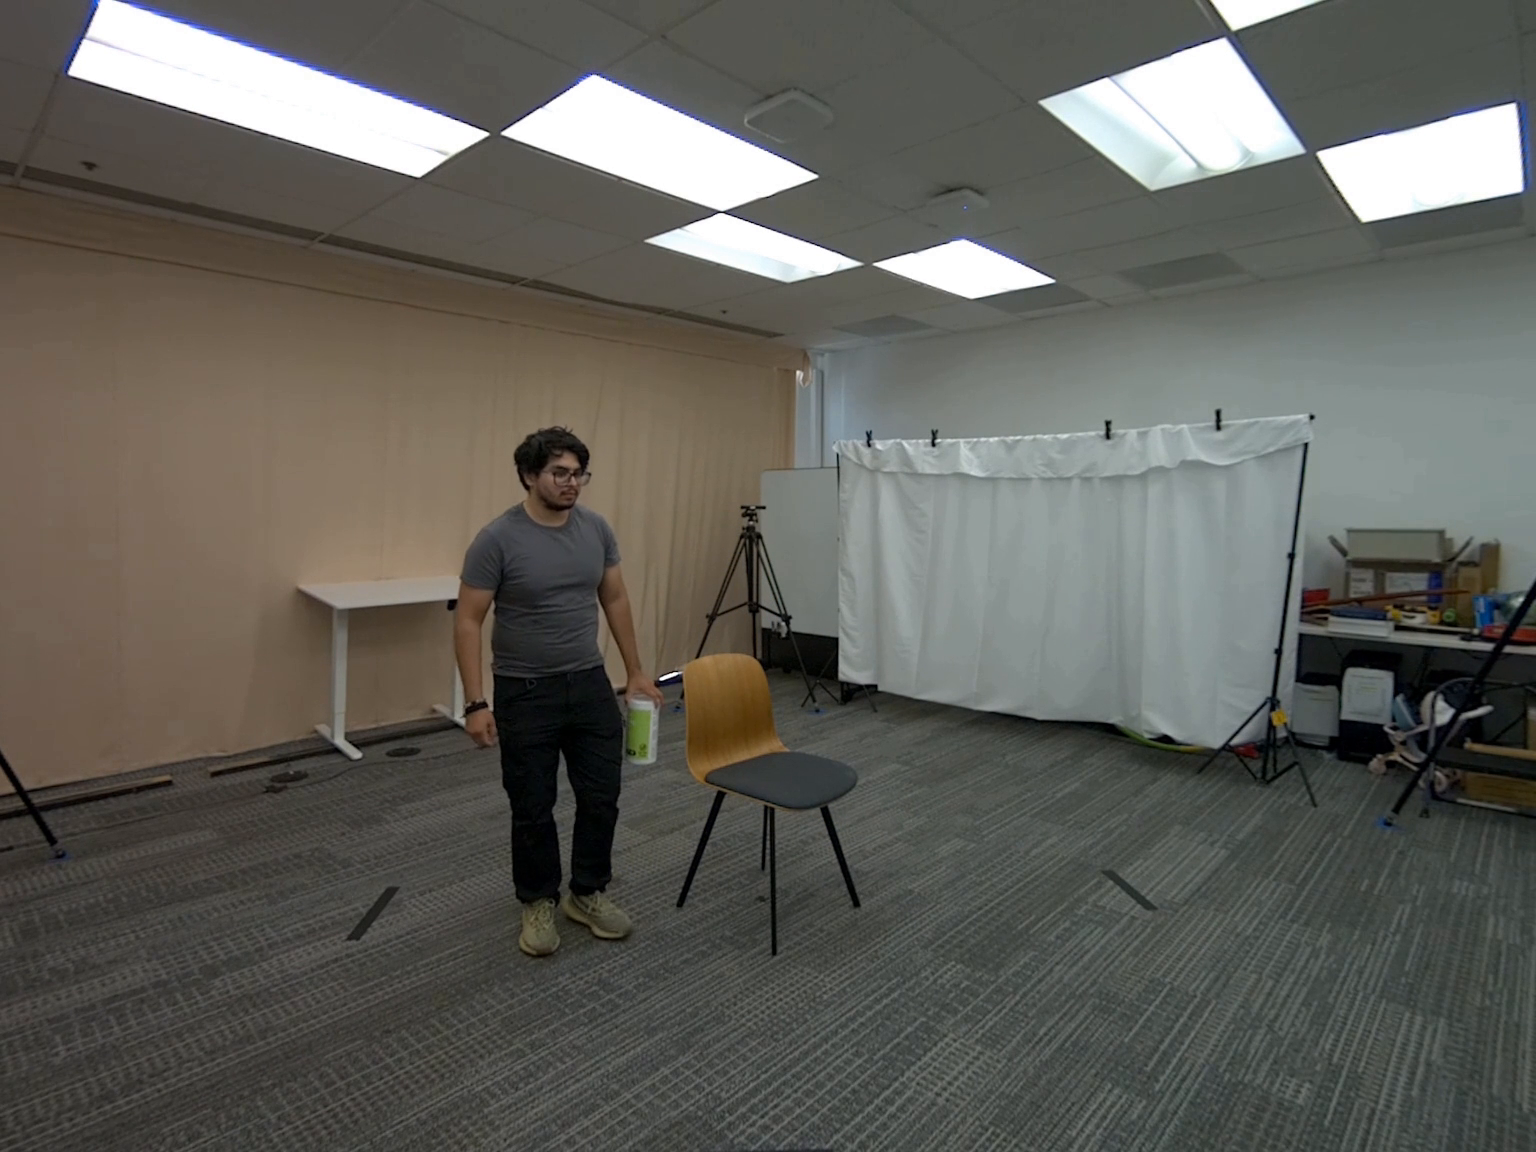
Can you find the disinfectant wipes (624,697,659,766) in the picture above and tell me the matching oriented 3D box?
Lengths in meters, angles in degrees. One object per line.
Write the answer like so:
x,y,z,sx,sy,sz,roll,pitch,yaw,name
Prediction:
-0.427,0.523,2.836,0.117,0.217,0.118,3,2,-2,disinfectant wipes
